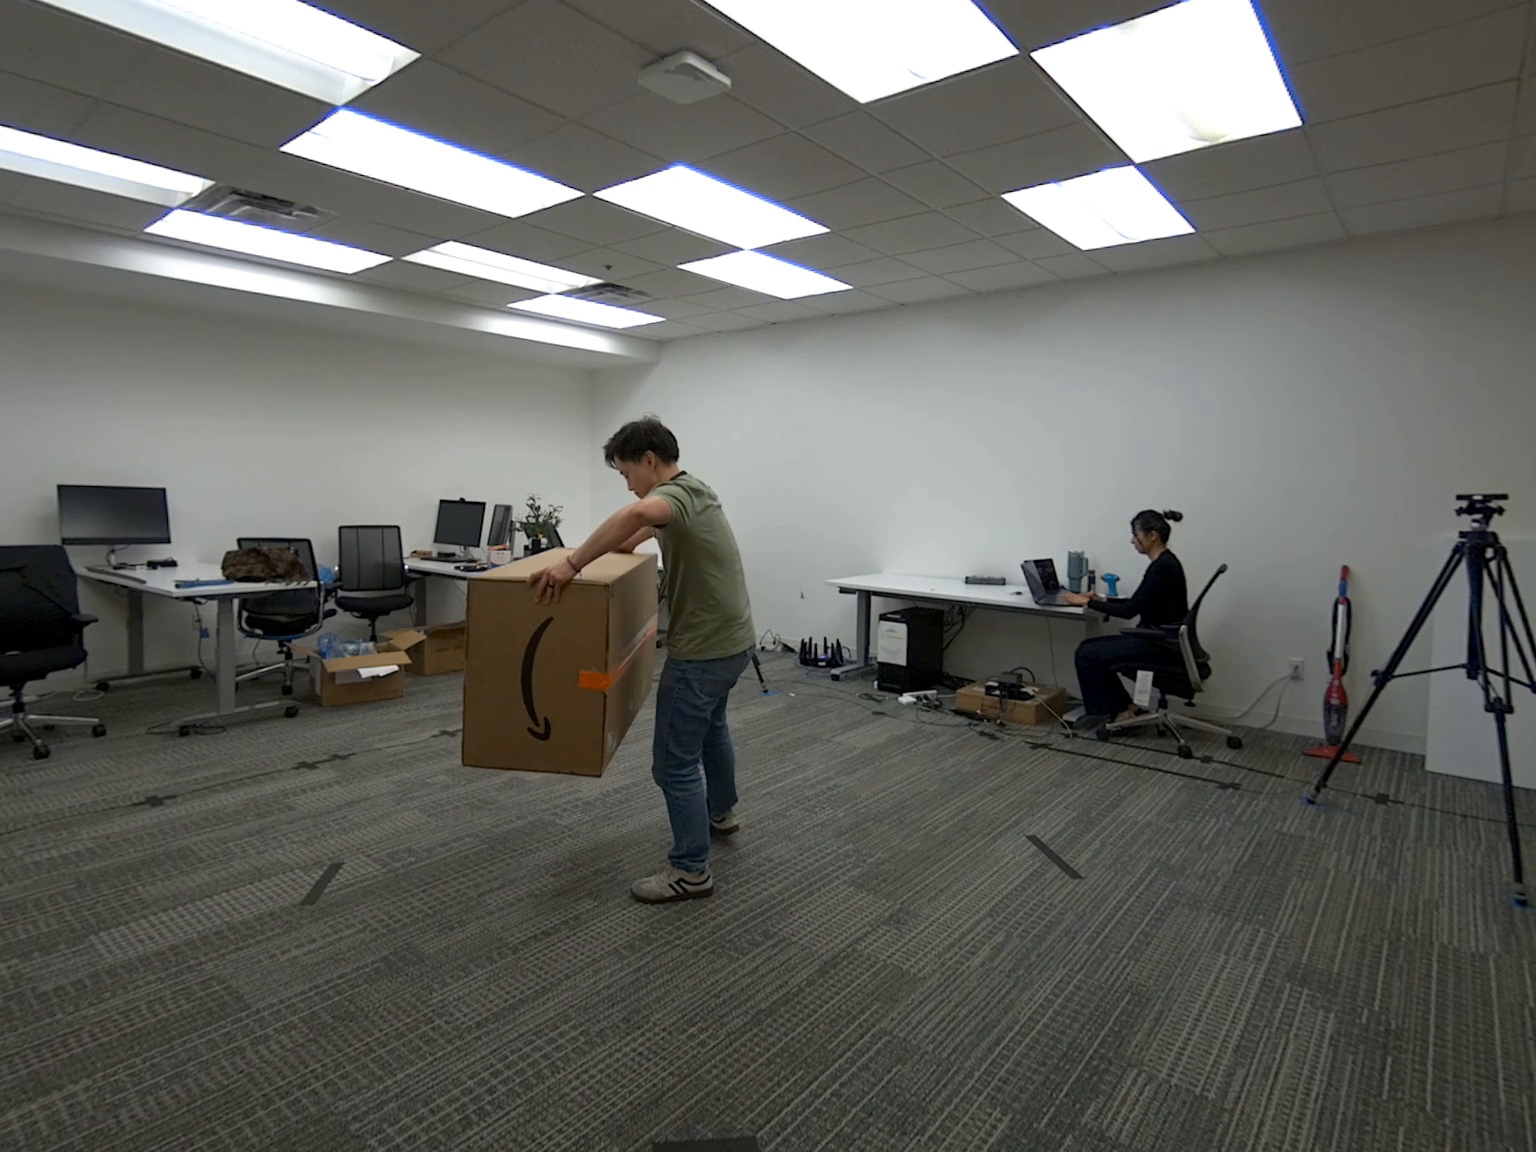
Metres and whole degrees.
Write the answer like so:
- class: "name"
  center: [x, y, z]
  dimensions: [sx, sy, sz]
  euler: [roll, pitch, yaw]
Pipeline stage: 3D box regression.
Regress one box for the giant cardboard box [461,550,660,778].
- class: "giant cardboard box"
  center: [-0.683, 0.239, 3.001]
  dimensions: [0.427, 0.575, 1.028]
  euler: [3, 6, 1]
